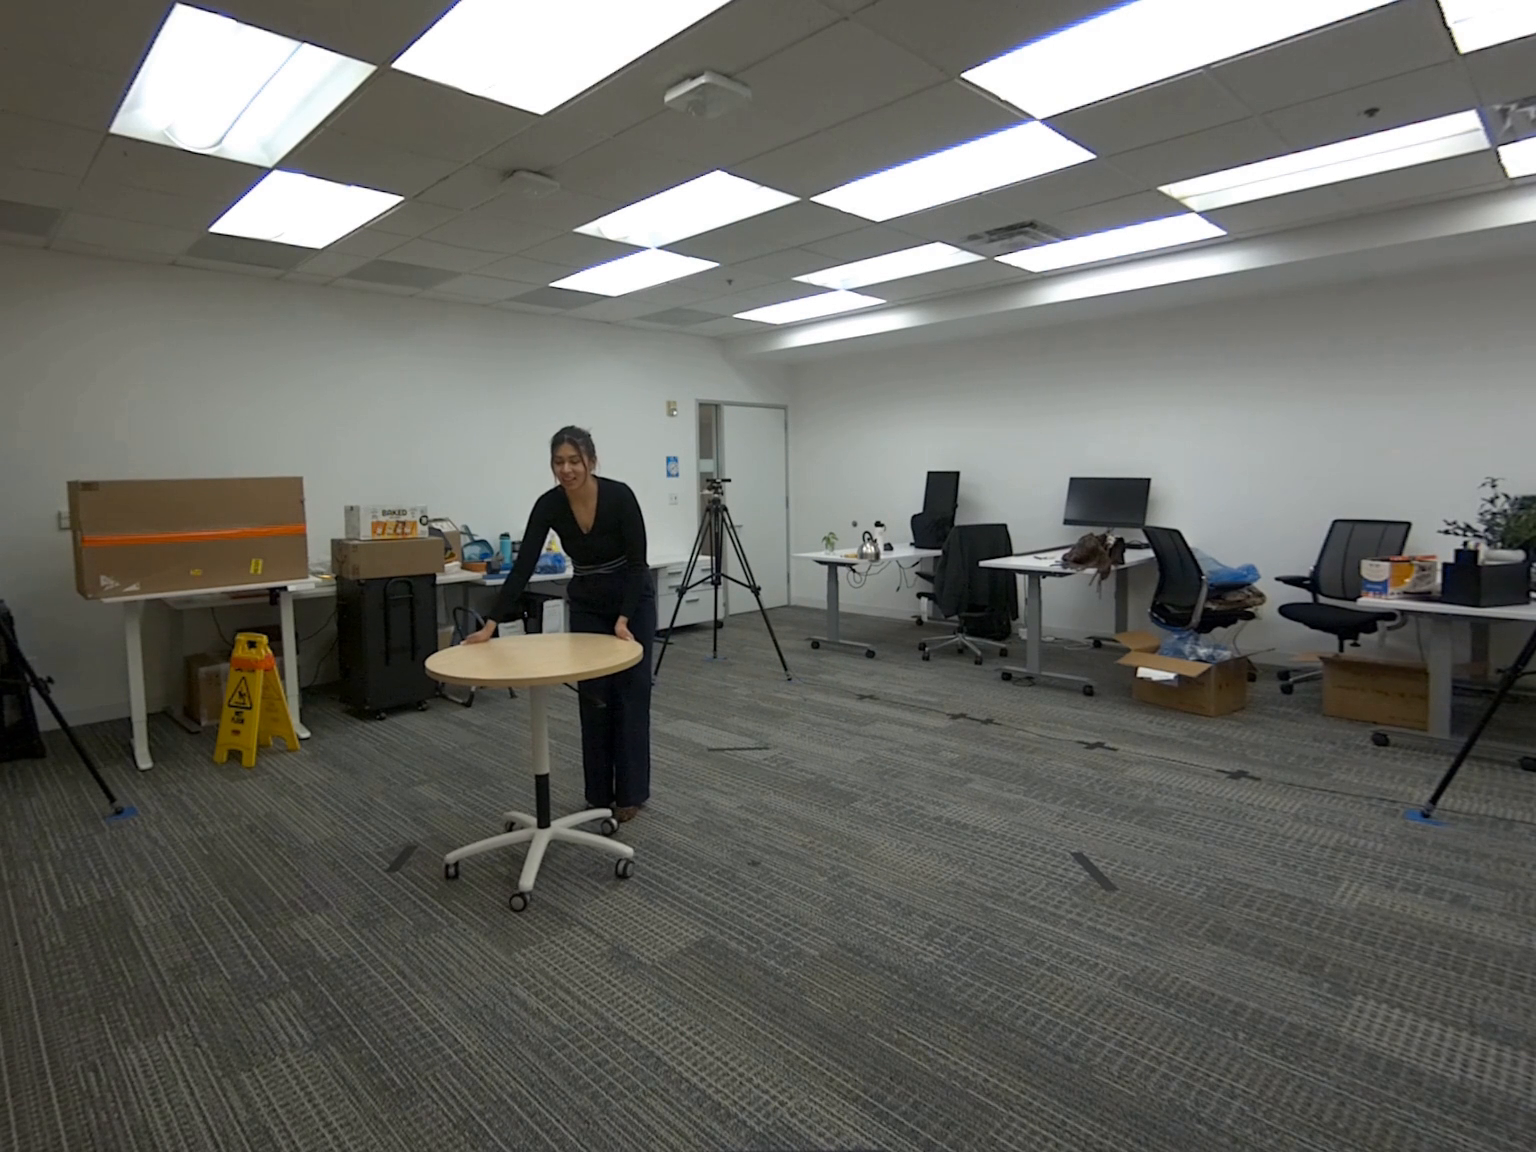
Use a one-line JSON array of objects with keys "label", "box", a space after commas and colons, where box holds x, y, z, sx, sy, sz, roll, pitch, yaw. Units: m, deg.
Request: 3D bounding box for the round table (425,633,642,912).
[{"label": "round table", "box": [-0.823, 0.672, 3.113, 0.763, 0.791, 0.768, -2, 5, -2]}]
